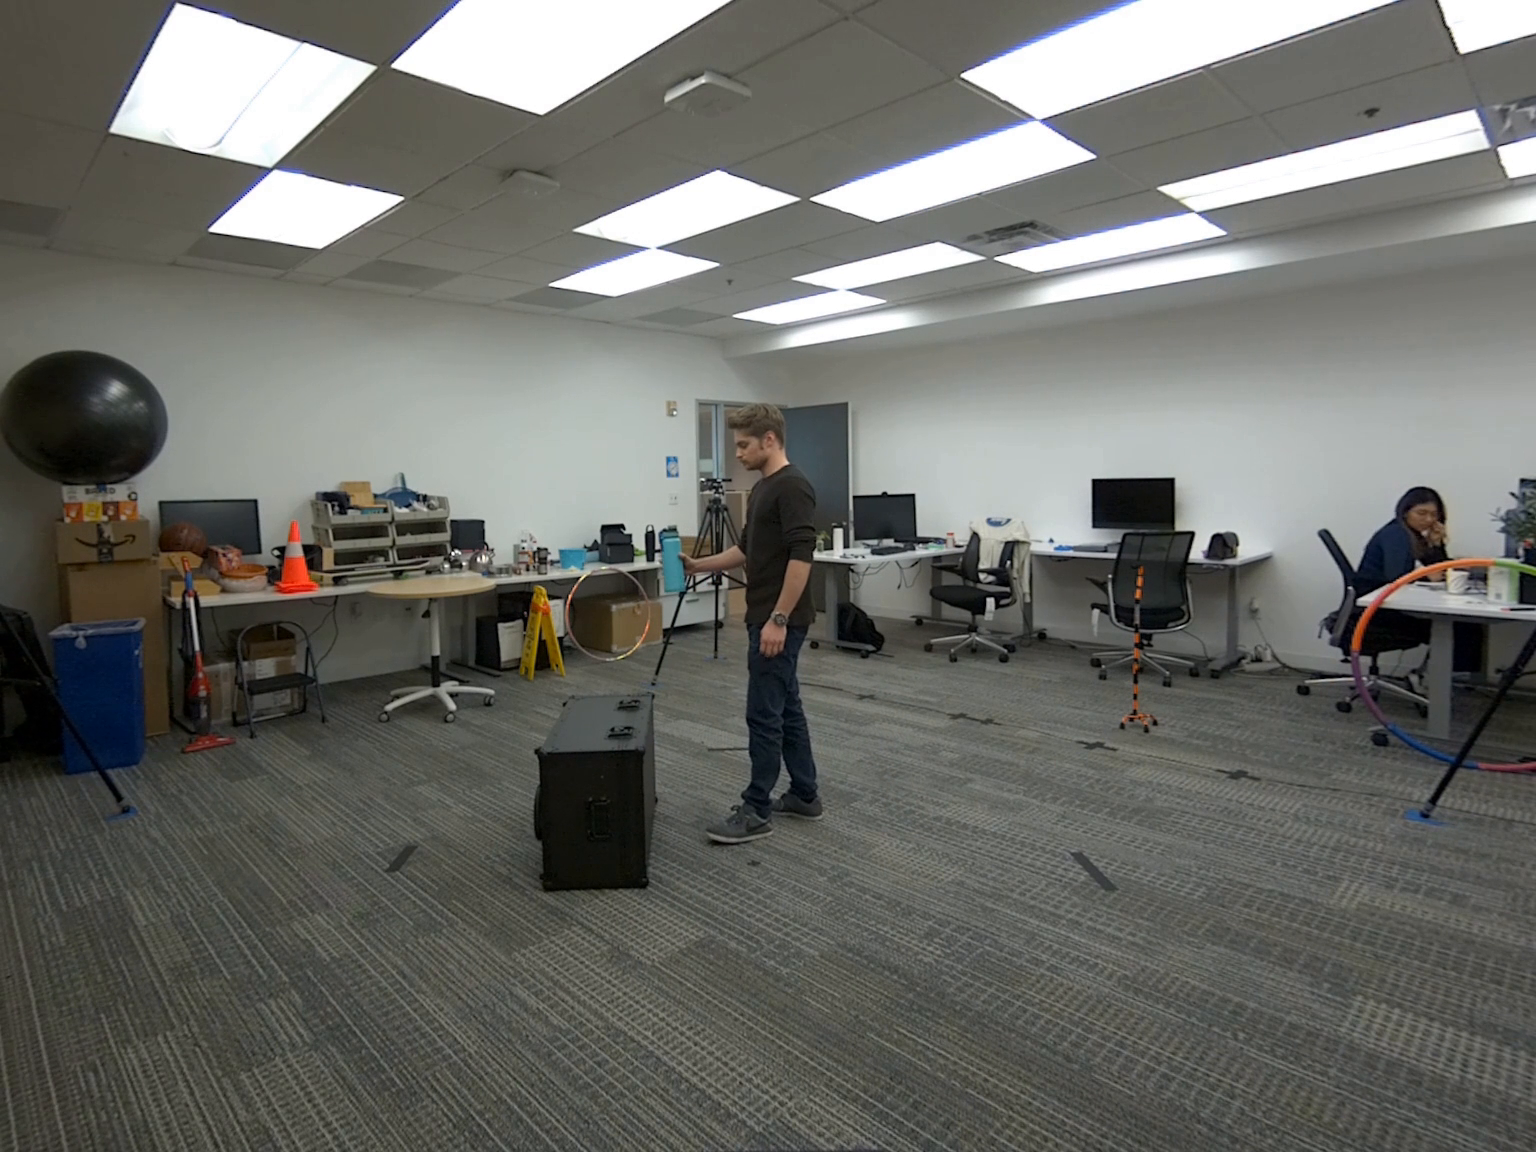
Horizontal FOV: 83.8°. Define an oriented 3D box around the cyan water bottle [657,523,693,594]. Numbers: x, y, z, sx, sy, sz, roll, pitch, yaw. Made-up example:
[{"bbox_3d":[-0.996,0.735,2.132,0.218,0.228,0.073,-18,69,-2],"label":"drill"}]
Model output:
[{"bbox_3d":[-0.395,-0.077,3.620,0.092,0.283,0.092,-11,0,-1],"label":"cyan water bottle"}]
